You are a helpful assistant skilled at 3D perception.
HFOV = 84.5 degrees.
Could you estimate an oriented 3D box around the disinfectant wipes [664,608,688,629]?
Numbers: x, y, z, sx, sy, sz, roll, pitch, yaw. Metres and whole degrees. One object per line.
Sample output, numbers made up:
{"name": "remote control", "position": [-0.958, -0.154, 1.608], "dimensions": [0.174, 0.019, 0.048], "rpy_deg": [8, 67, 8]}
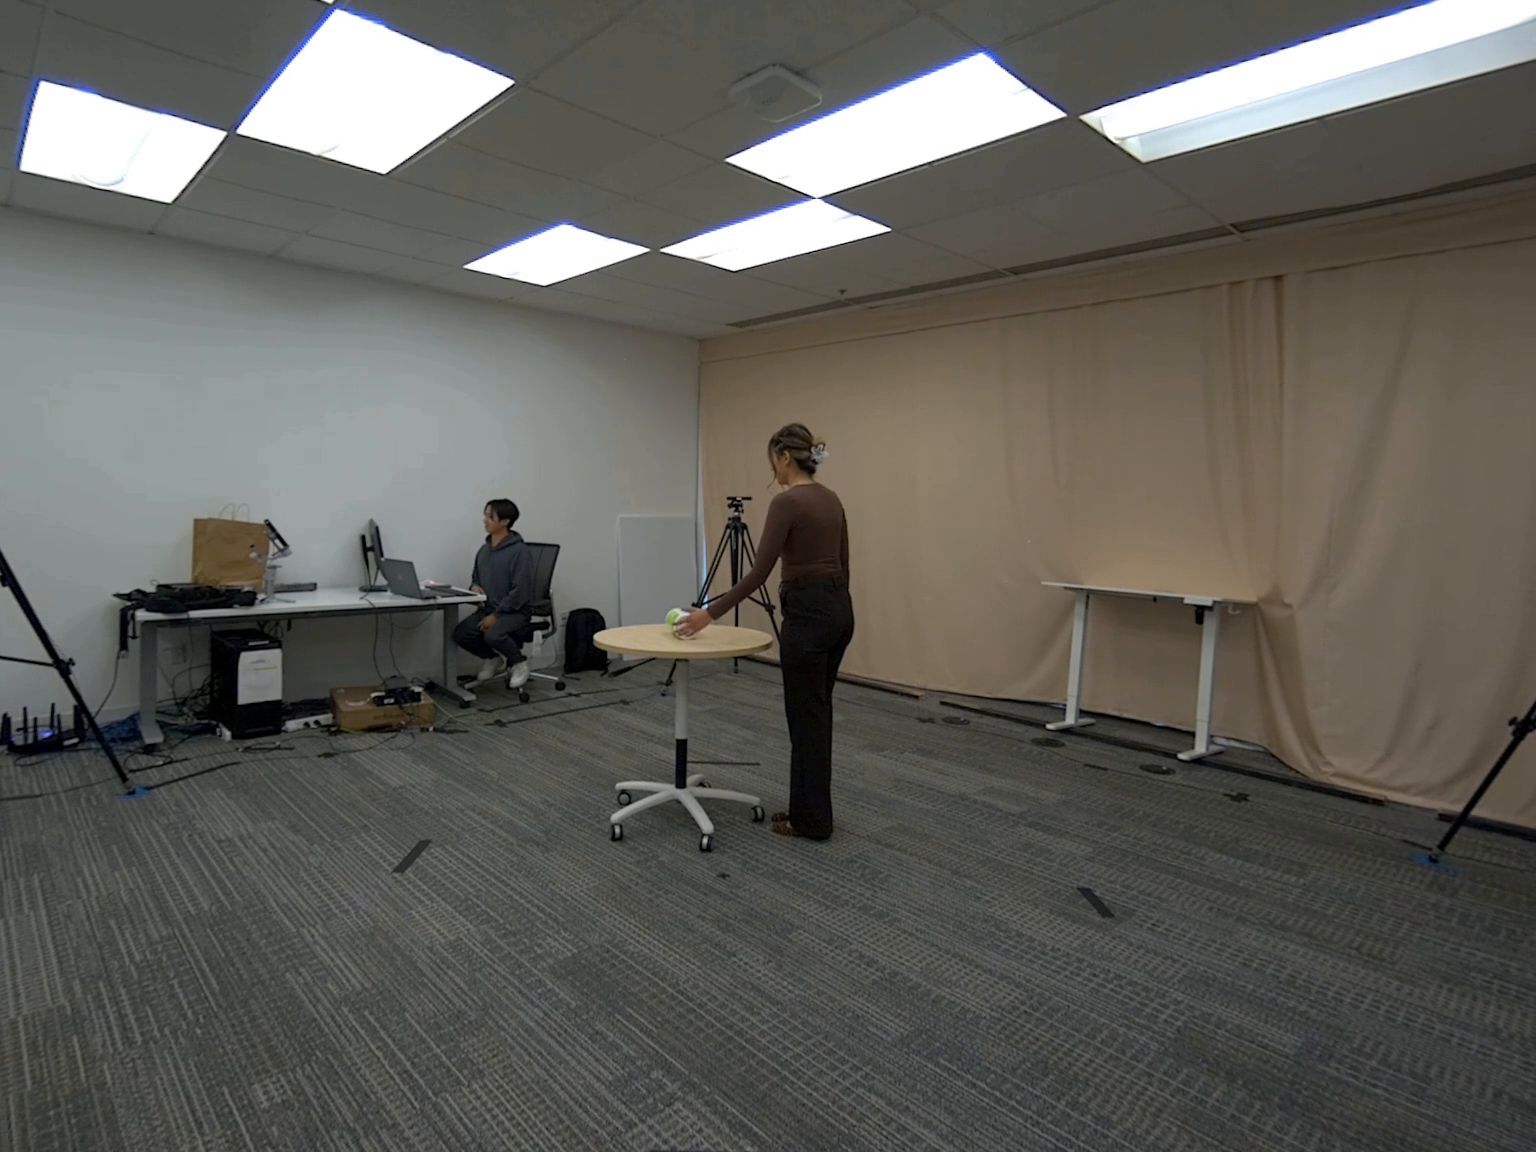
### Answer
{"name": "disinfectant wipes", "position": [-0.367, 0.203, 3.611], "dimensions": [0.116, 0.117, 0.221], "rpy_deg": [0, 5, -18]}
